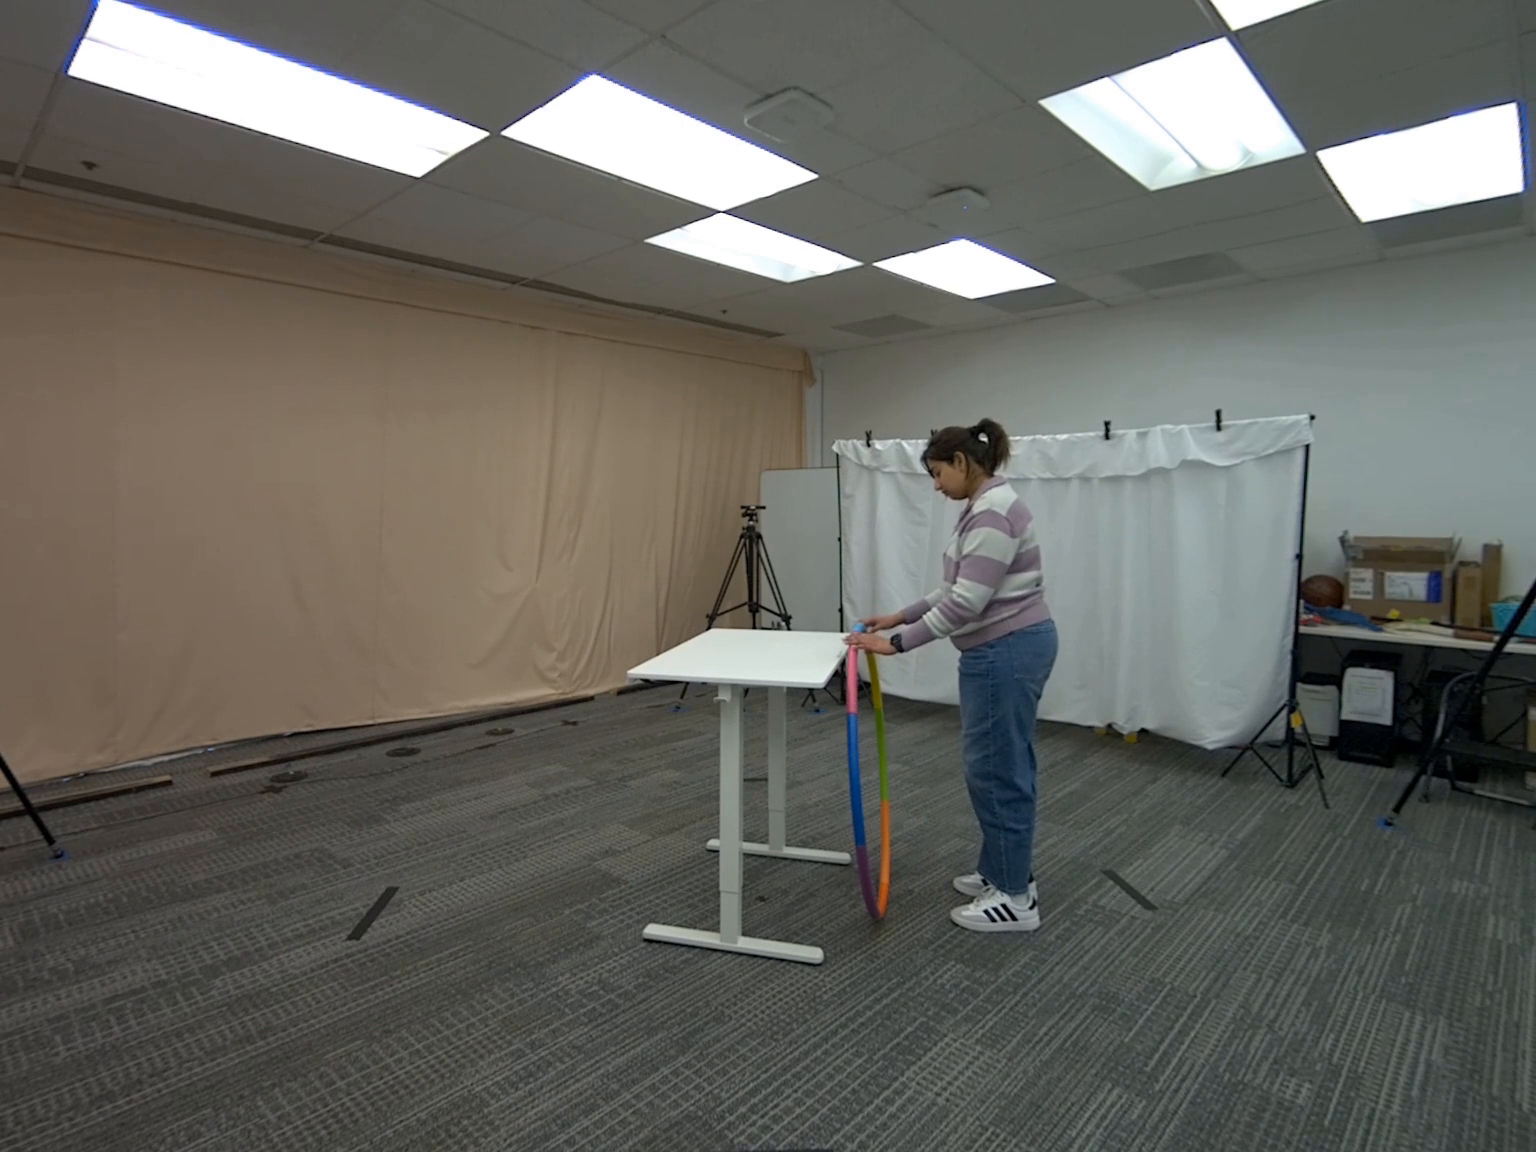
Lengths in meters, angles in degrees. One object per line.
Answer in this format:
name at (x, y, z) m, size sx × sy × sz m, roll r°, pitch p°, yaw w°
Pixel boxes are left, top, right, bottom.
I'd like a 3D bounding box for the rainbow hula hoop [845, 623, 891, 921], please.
rainbow hula hoop at (0.361, 0.666, 2.918) m, size 0.036 × 0.977 × 0.967 m, roll -7°, pitch 2°, yaw 11°
